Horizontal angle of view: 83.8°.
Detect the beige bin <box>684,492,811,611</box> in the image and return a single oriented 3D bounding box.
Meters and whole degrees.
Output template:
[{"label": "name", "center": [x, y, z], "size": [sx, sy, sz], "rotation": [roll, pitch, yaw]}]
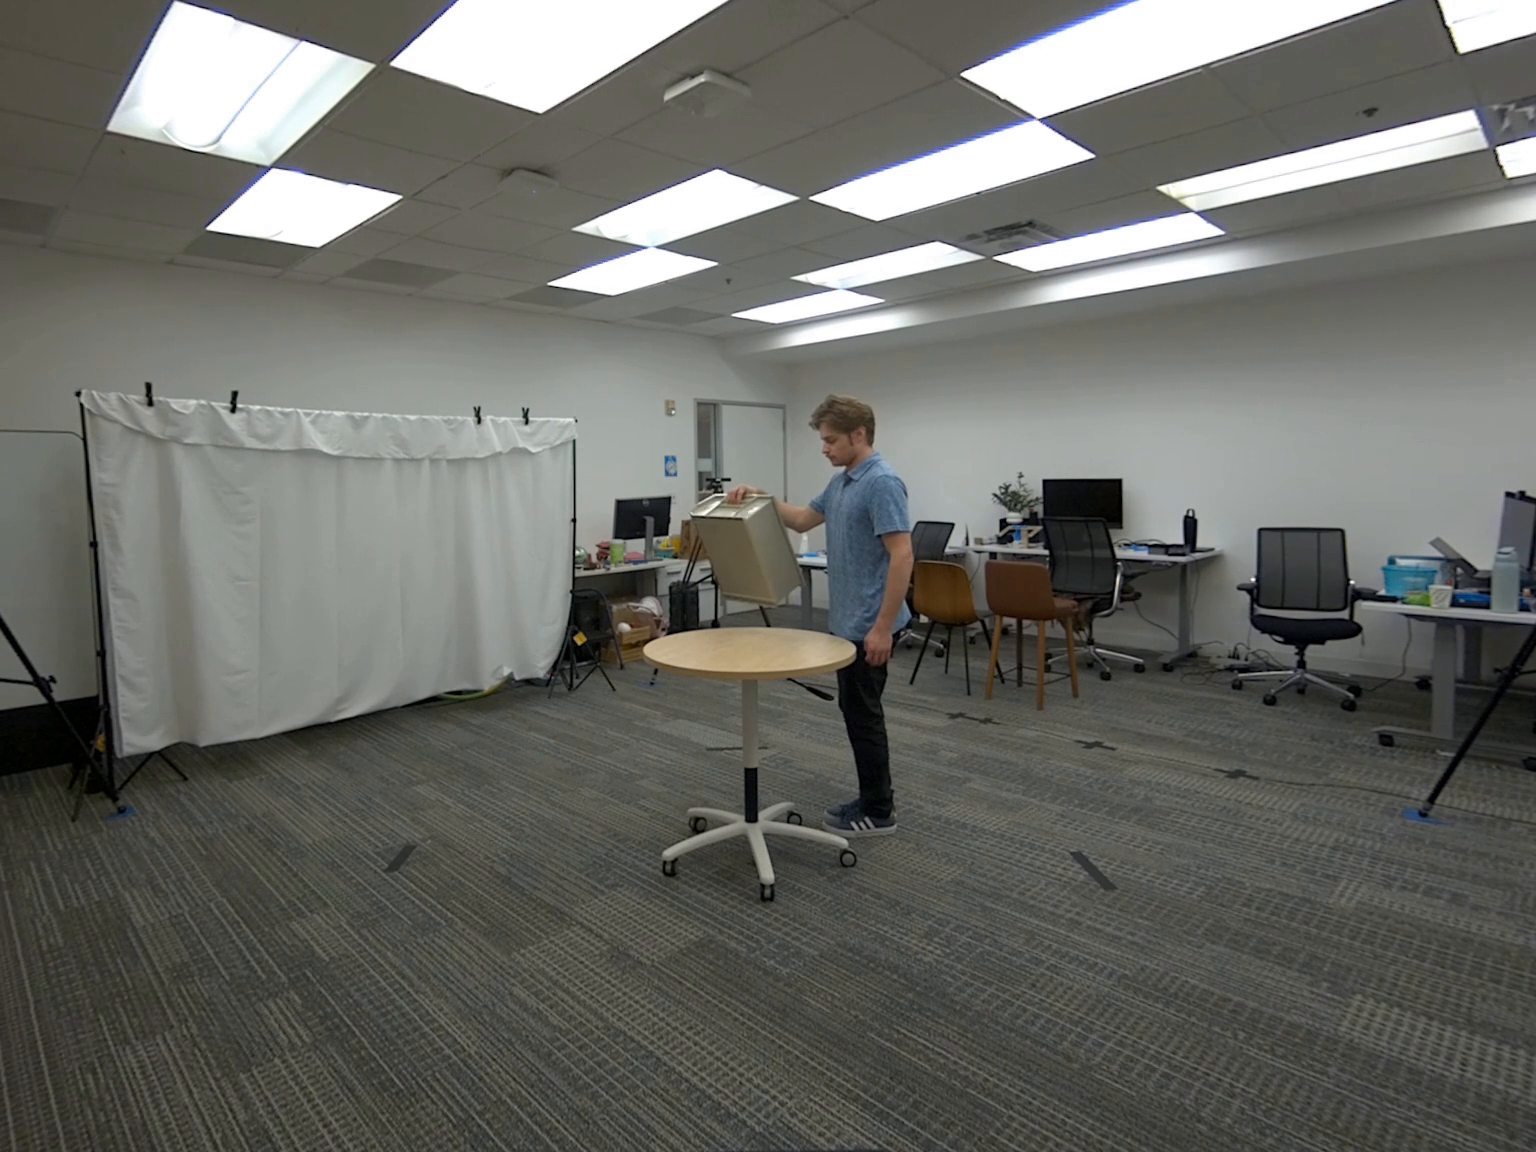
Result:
[{"label": "beige bin", "center": [-0.090, -0.112, 3.530], "size": [0.188, 0.412, 0.389], "rotation": [-36, 27, -33]}]
